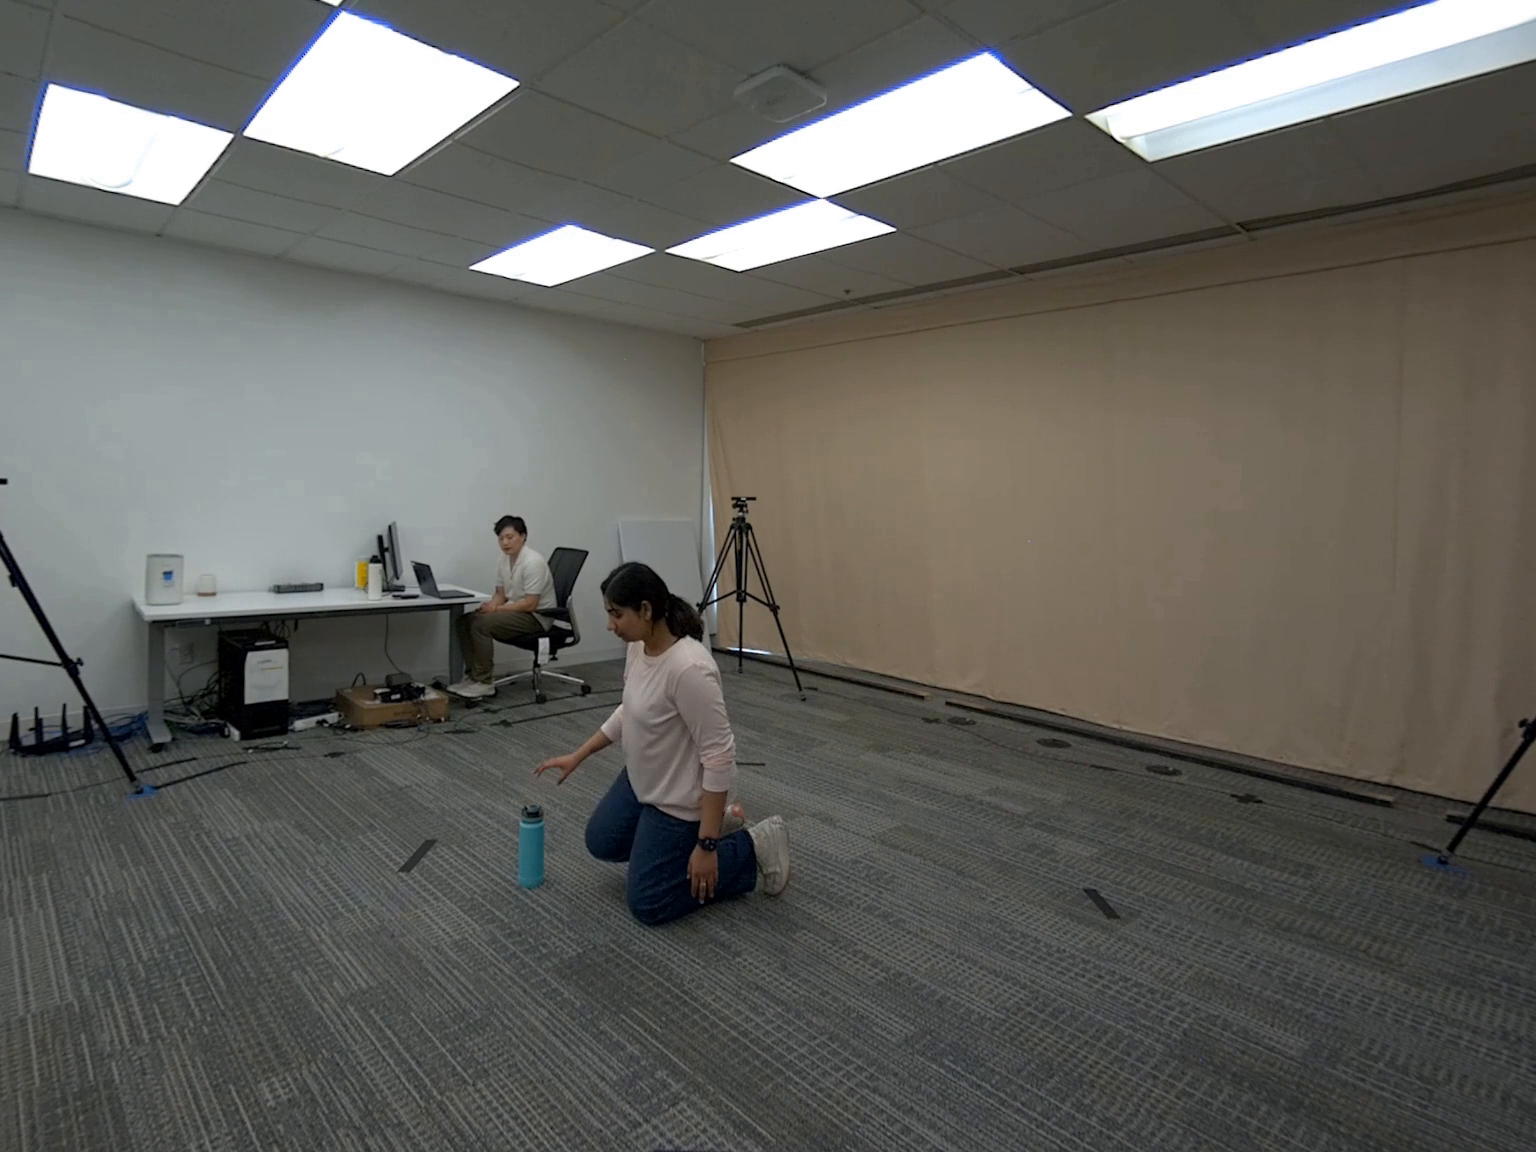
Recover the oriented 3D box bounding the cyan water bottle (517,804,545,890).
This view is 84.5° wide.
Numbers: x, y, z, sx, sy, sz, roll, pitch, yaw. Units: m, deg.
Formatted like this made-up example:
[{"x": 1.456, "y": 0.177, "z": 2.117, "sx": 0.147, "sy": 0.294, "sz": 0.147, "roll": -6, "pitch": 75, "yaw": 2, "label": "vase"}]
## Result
[{"x": -0.847, "y": 0.953, "z": 3.008, "sx": 0.092, "sy": 0.283, "sz": 0.092, "roll": 1, "pitch": 3, "yaw": -1, "label": "cyan water bottle"}]
